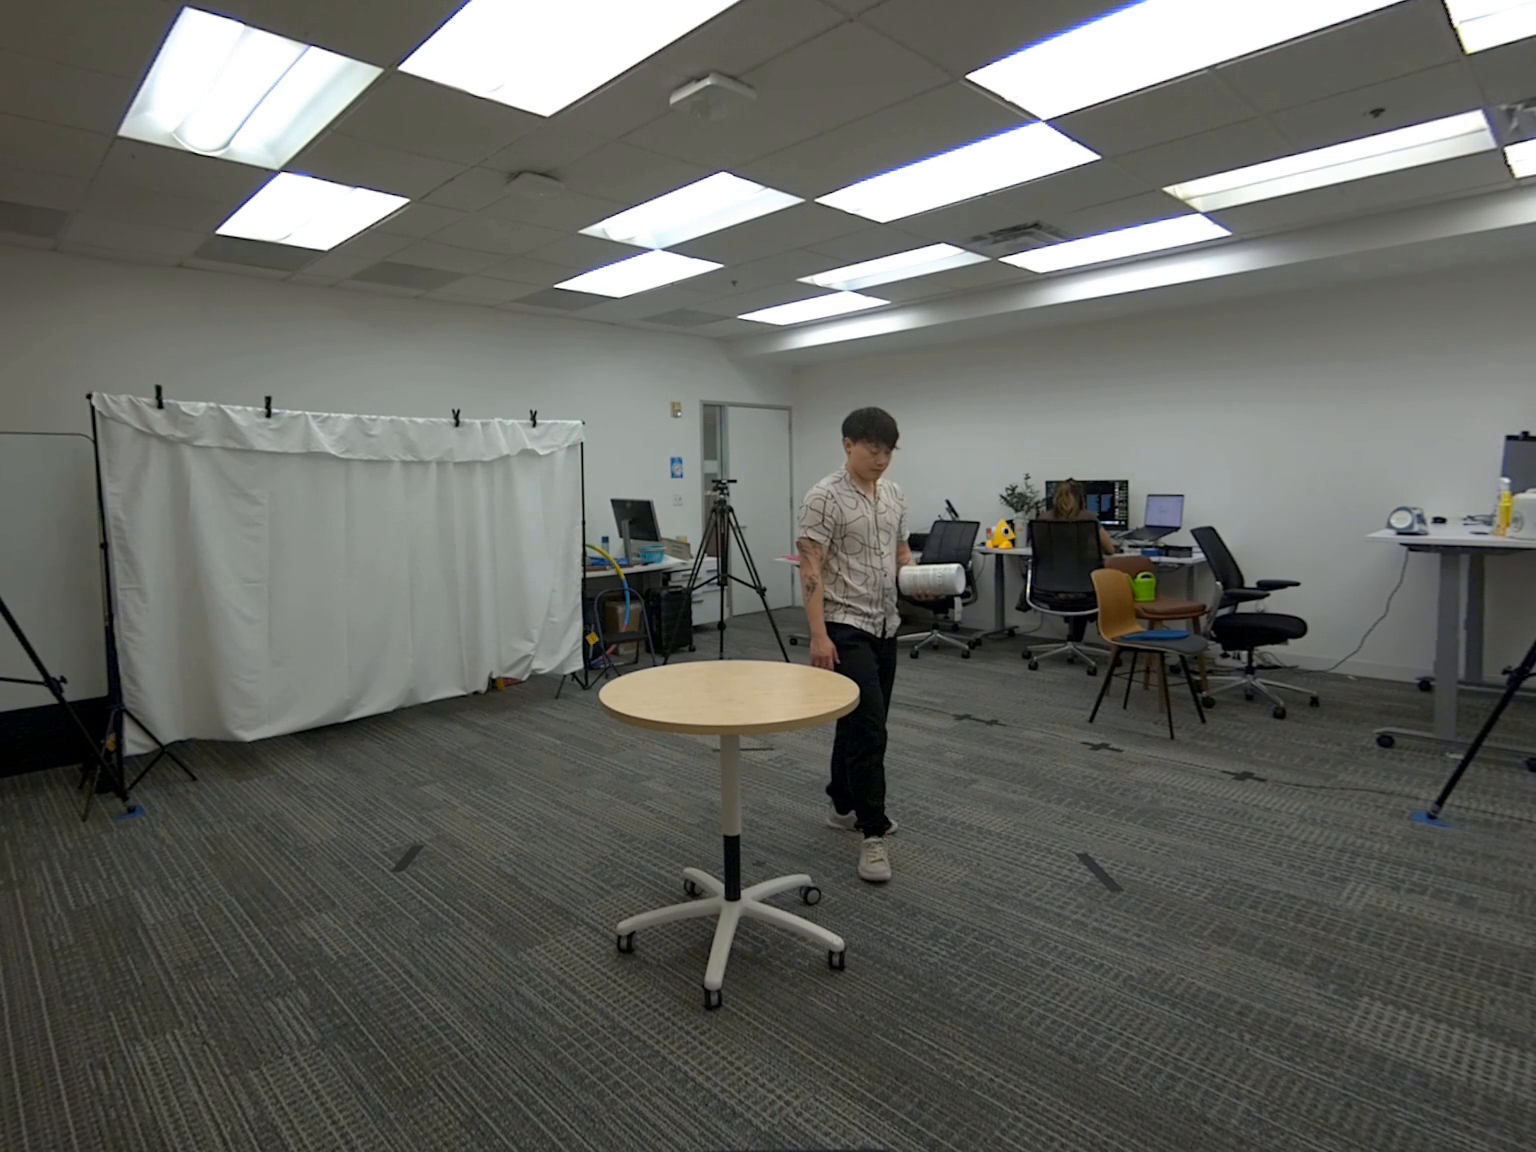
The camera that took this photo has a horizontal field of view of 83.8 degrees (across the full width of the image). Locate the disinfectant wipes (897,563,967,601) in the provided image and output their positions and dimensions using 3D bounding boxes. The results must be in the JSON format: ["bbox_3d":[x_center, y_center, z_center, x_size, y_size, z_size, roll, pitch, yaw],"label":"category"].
[{"bbox_3d":[0.587,0.015,3.106,0.223,0.118,0.115,-4,2,35],"label":"disinfectant wipes"}]
